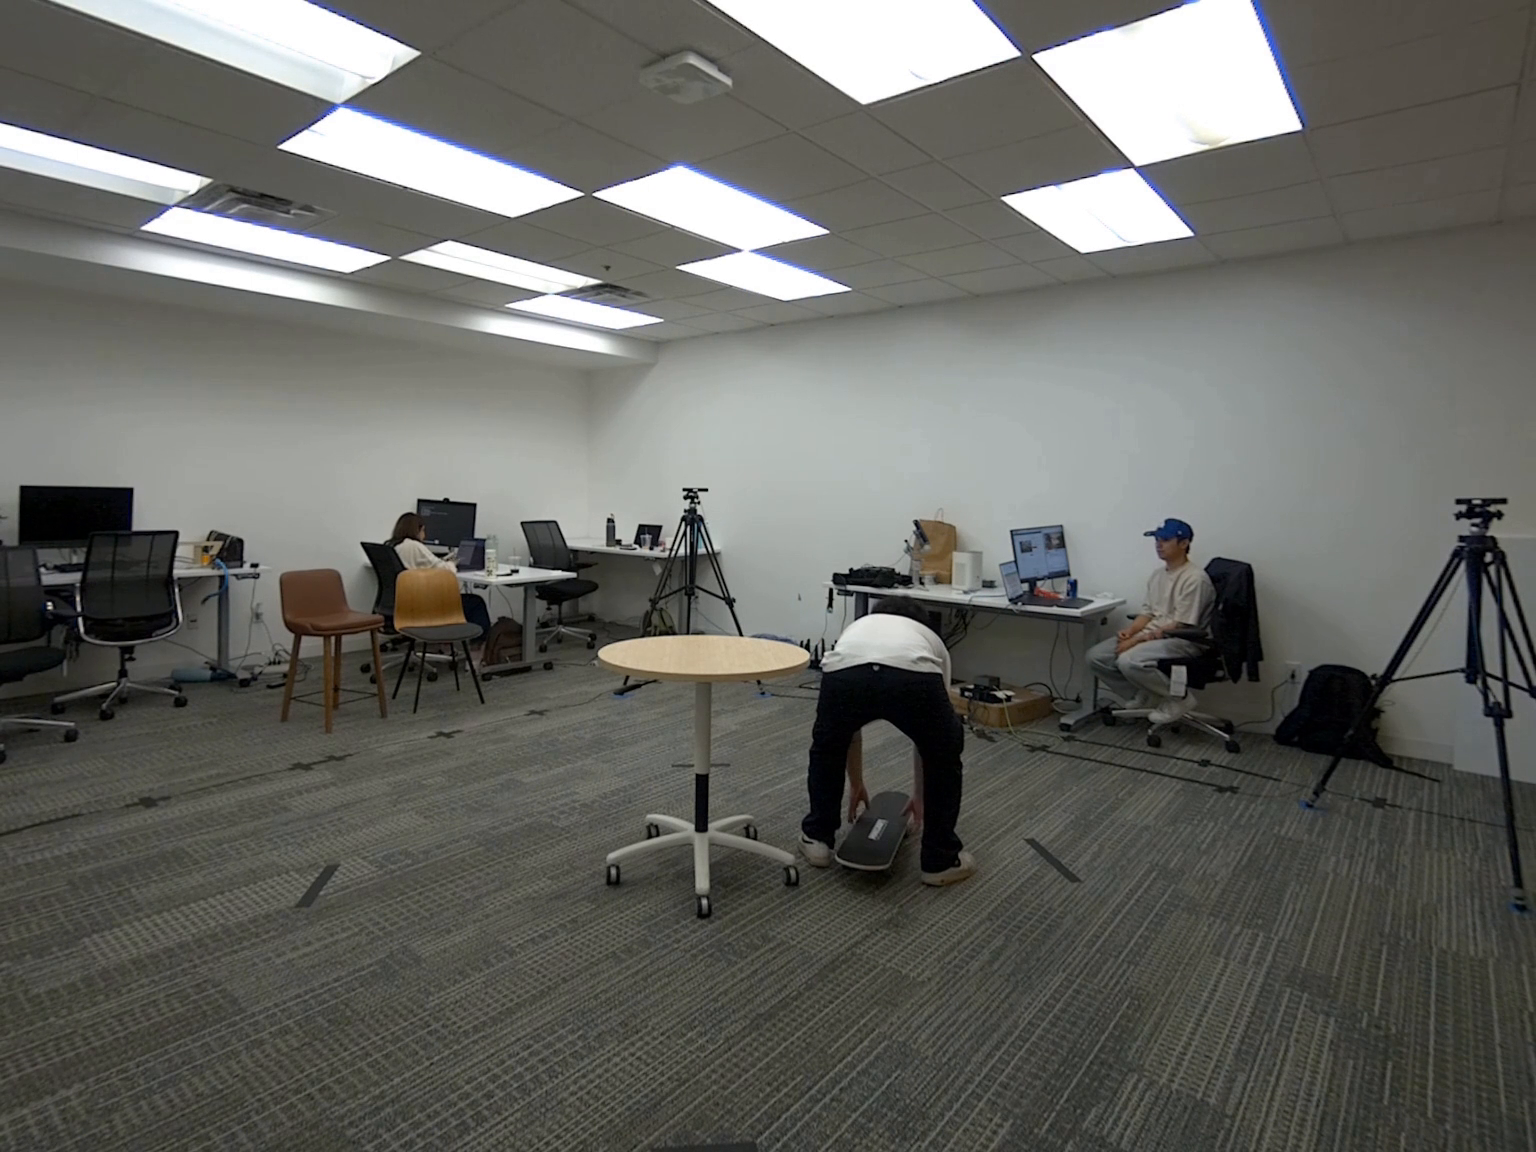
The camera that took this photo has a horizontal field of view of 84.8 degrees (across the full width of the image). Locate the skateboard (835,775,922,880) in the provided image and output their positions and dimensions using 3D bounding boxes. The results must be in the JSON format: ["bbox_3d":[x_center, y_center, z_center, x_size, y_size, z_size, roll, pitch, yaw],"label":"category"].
[{"bbox_3d":[0.422,1.008,3.299,0.197,0.110,0.773,2,6,18],"label":"skateboard"}]
